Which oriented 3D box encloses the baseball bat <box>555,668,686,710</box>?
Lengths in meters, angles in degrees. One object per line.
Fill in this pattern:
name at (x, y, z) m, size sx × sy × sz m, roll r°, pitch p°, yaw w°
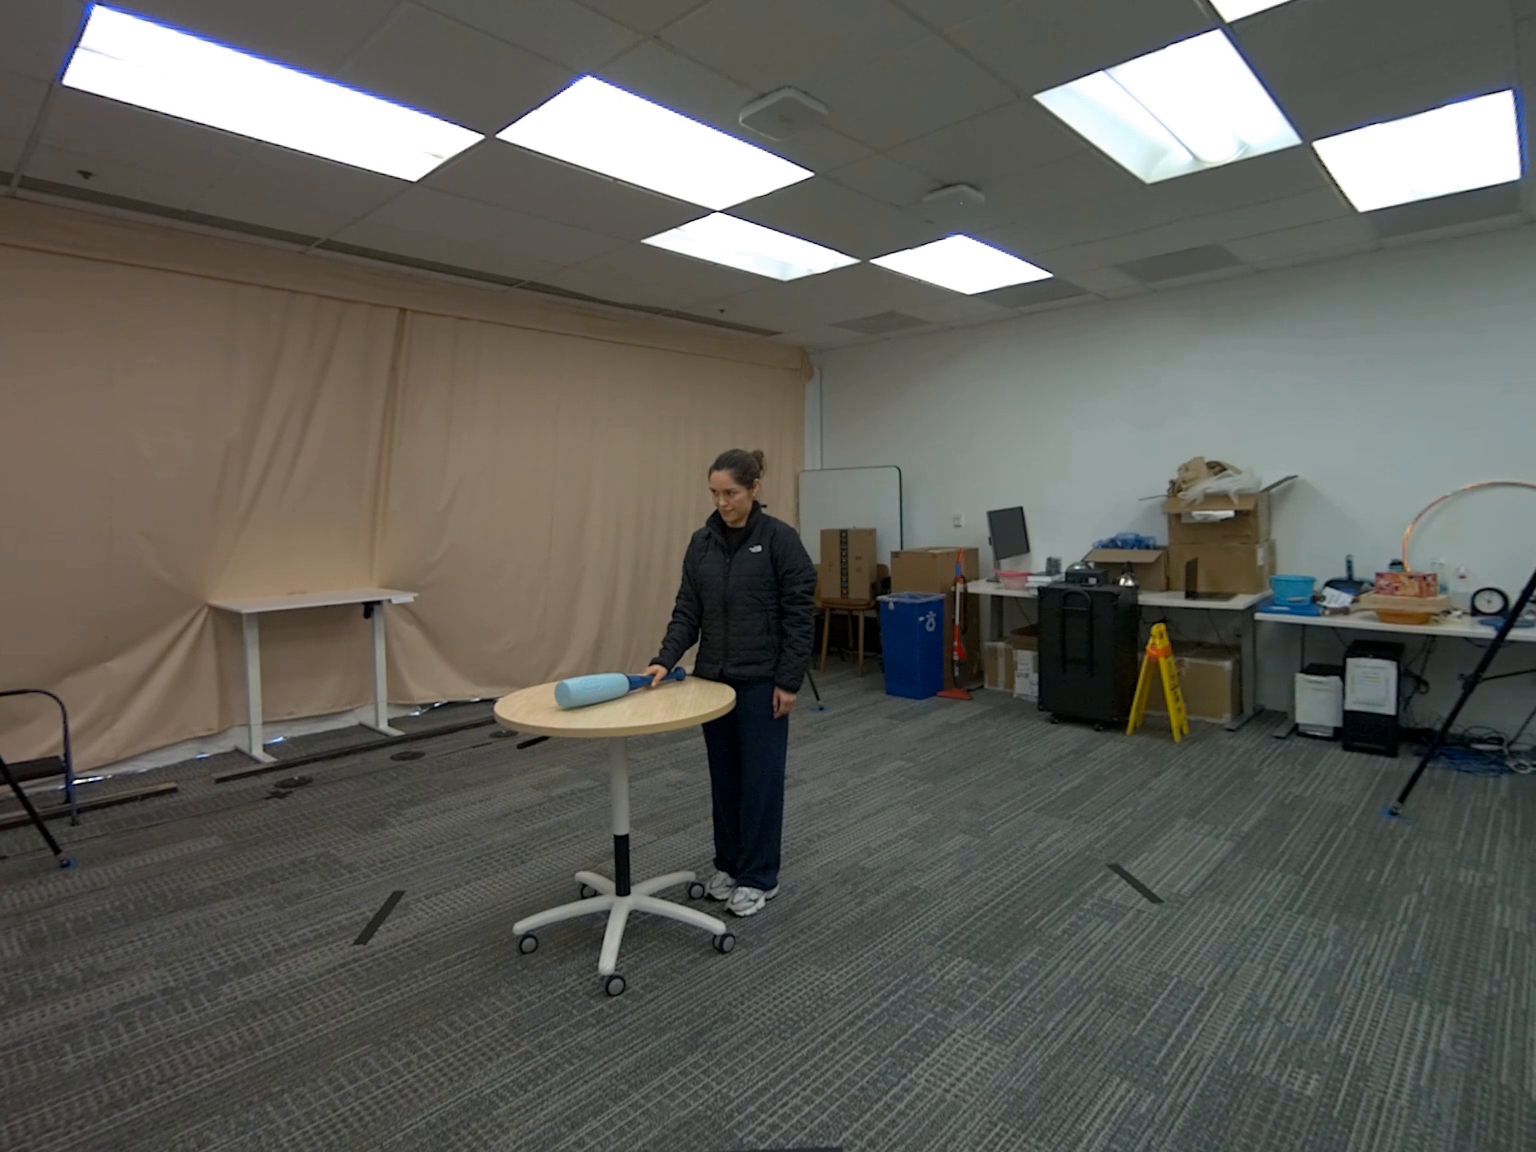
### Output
baseball bat at (-0.447, 0.351, 2.733) m, size 0.092 × 0.089 × 0.526 m, roll 2°, pitch 3°, yaw 38°
